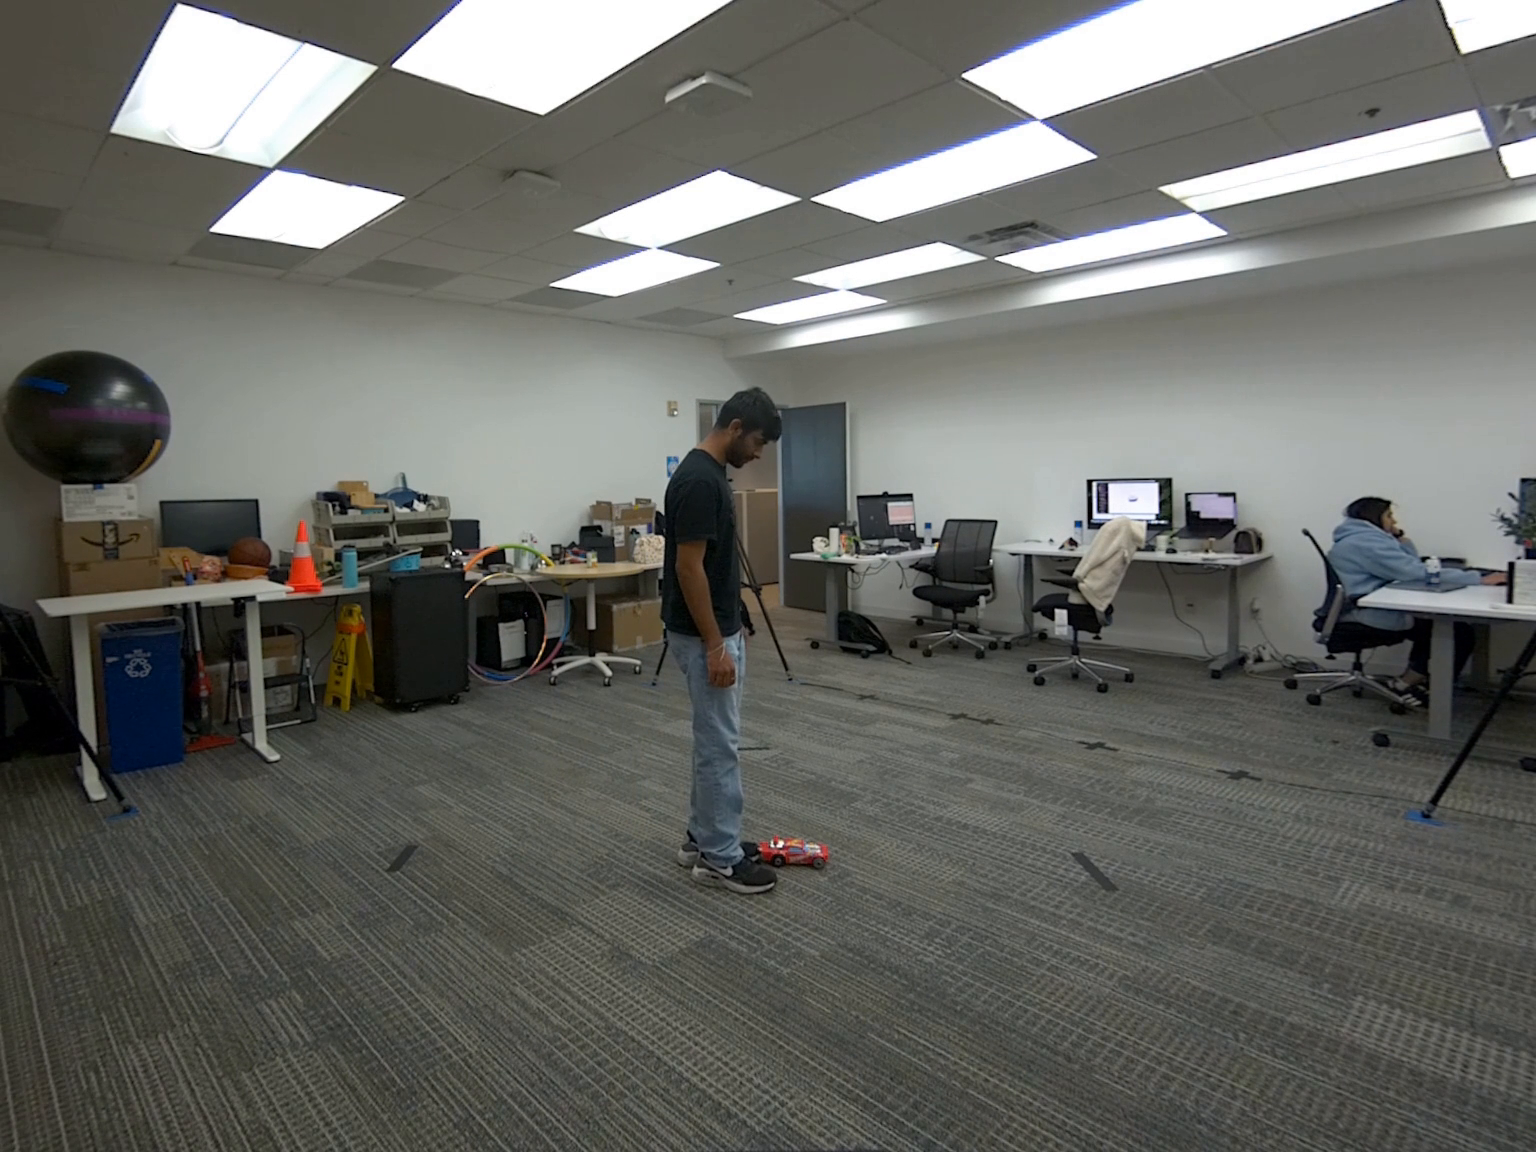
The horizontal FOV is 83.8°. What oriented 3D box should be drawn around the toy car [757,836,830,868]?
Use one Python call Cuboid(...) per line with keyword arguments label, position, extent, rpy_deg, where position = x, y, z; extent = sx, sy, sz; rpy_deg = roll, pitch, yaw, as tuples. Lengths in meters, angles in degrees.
Cuboid(label="toy car", position=(0.087, 1.004, 3.113), extent=(0.256, 0.083, 0.130), rpy_deg=(12, 6, 6))
